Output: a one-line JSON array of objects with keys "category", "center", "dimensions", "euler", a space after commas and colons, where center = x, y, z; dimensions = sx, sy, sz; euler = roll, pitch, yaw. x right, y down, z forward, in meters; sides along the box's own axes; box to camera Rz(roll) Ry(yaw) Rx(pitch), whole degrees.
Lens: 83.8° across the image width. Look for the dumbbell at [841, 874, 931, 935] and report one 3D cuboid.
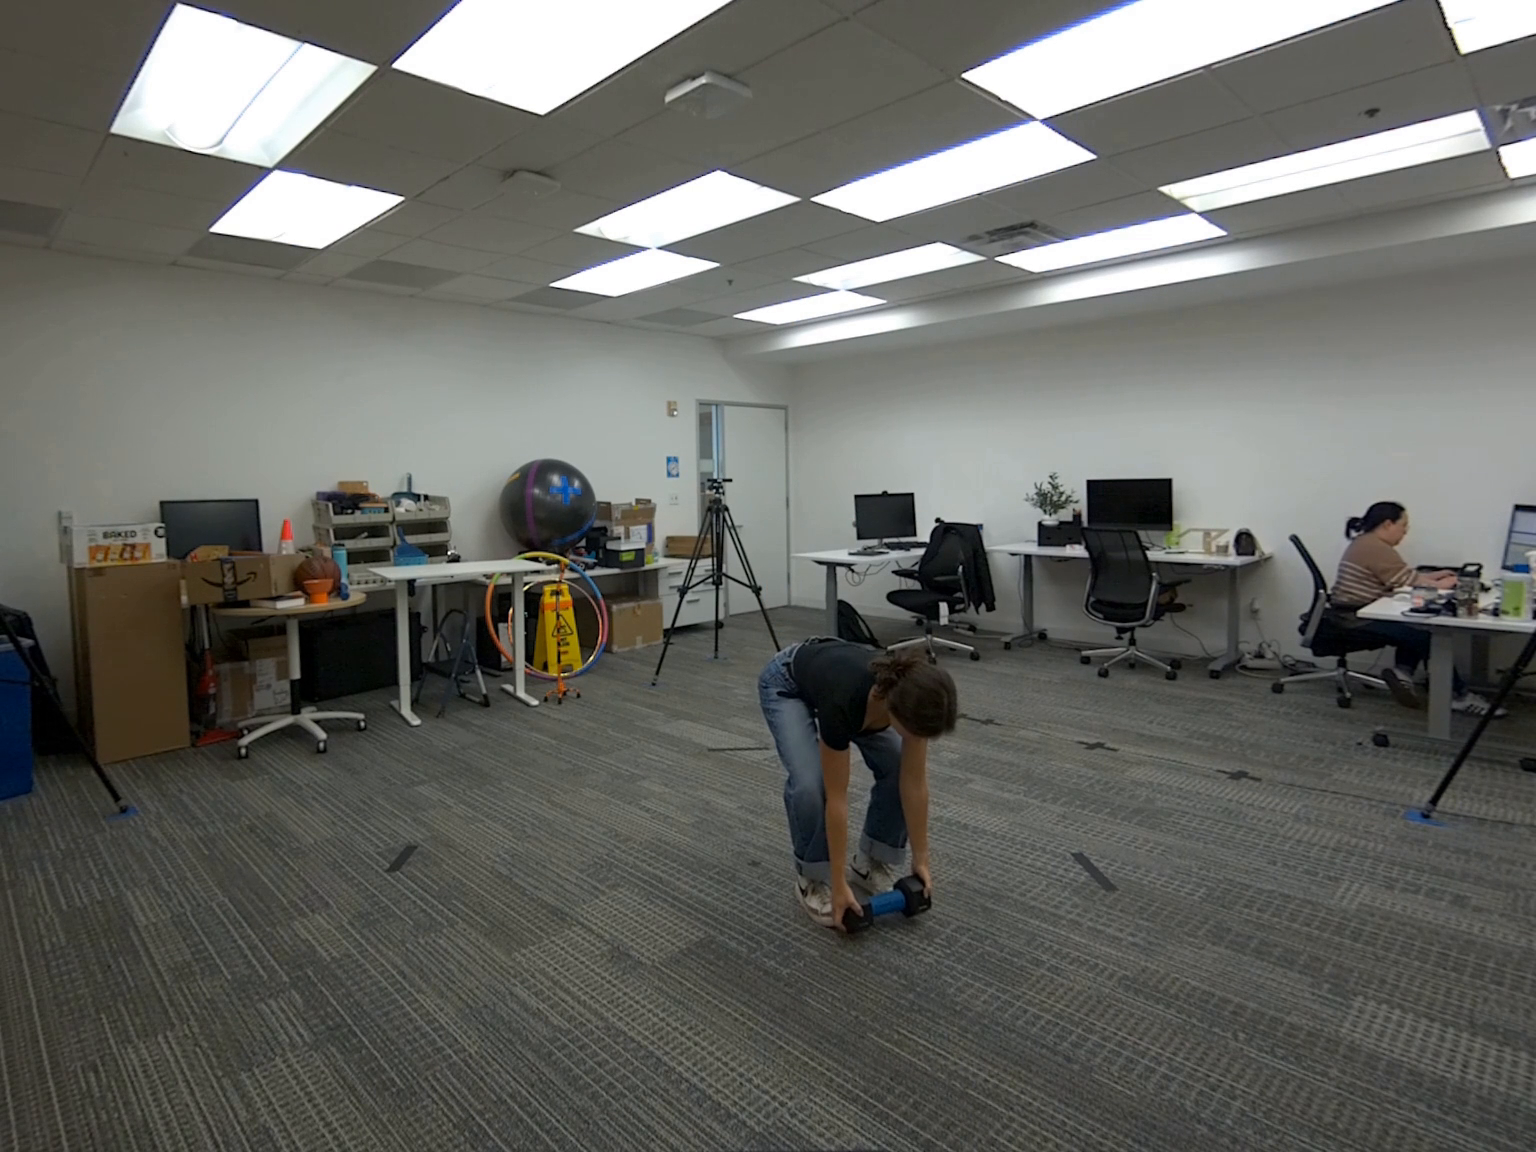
[{"category": "dumbbell", "center": [0.363, 1.012, 2.625], "dimensions": [0.288, 0.112, 0.121], "euler": [-3, -36, -22]}]
